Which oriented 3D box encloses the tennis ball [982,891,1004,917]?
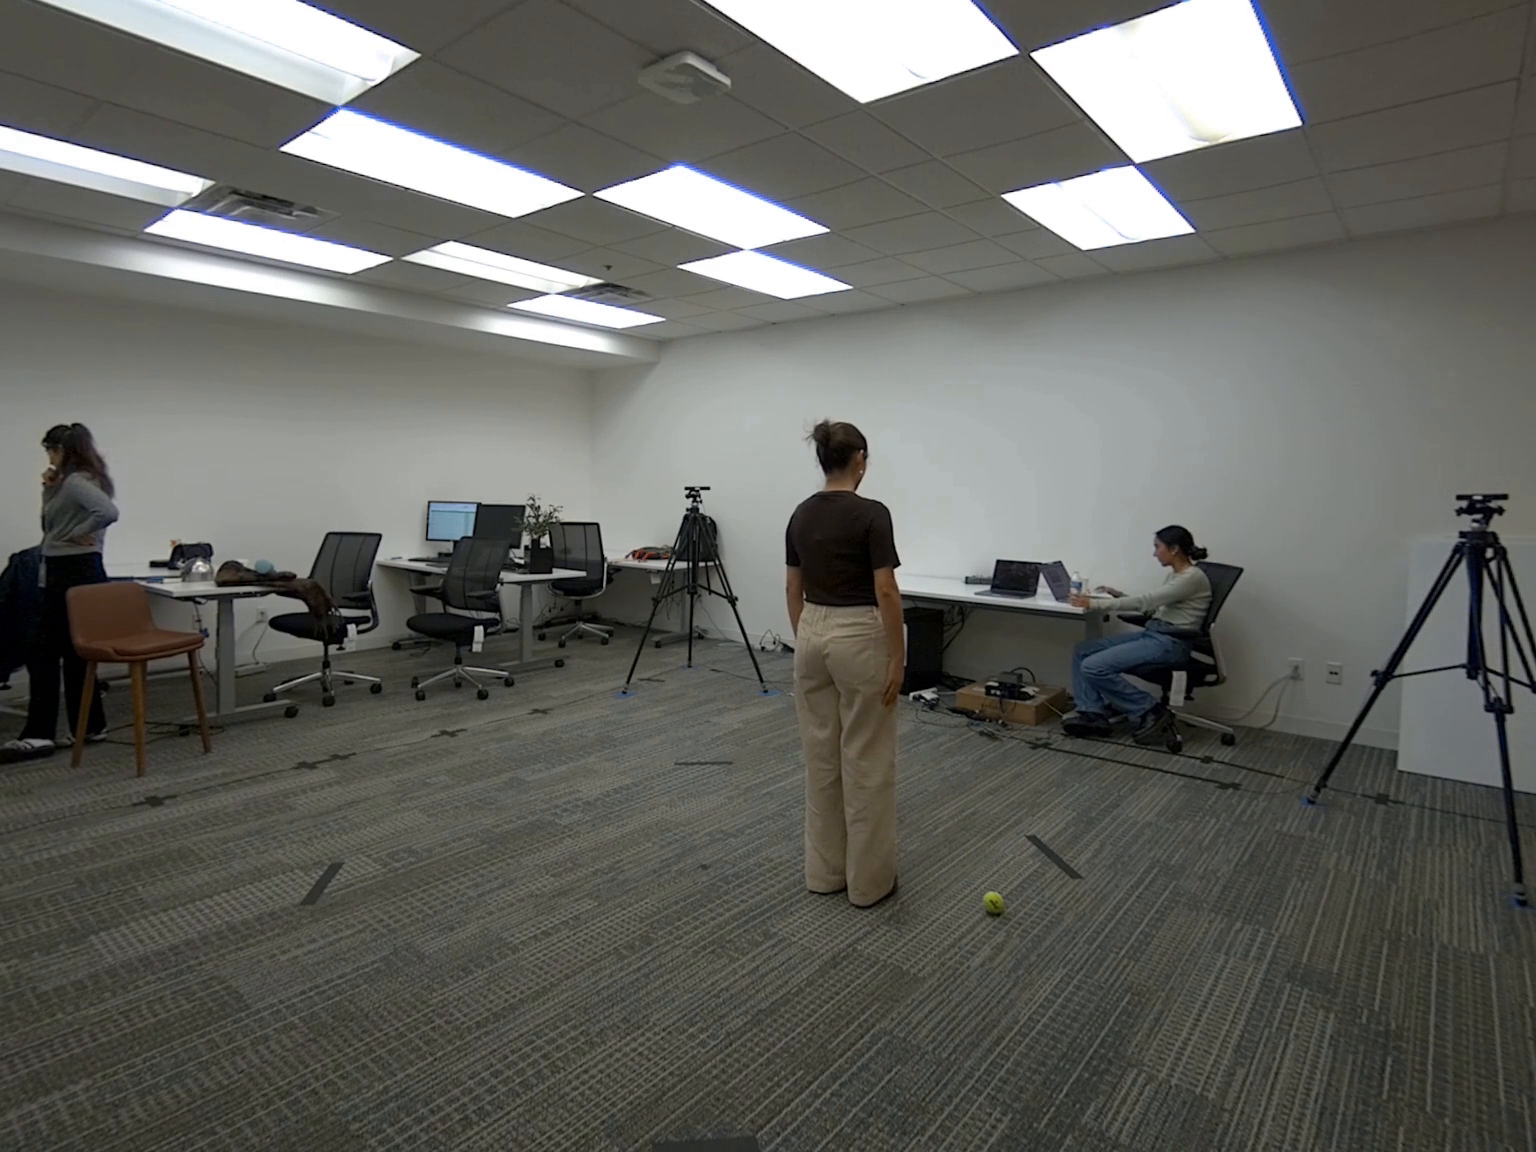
[{"bbox_3d":[0.733,1.067,2.820,0.066,0.066,0.067,1,4,-2],"label":"tennis ball"}]
